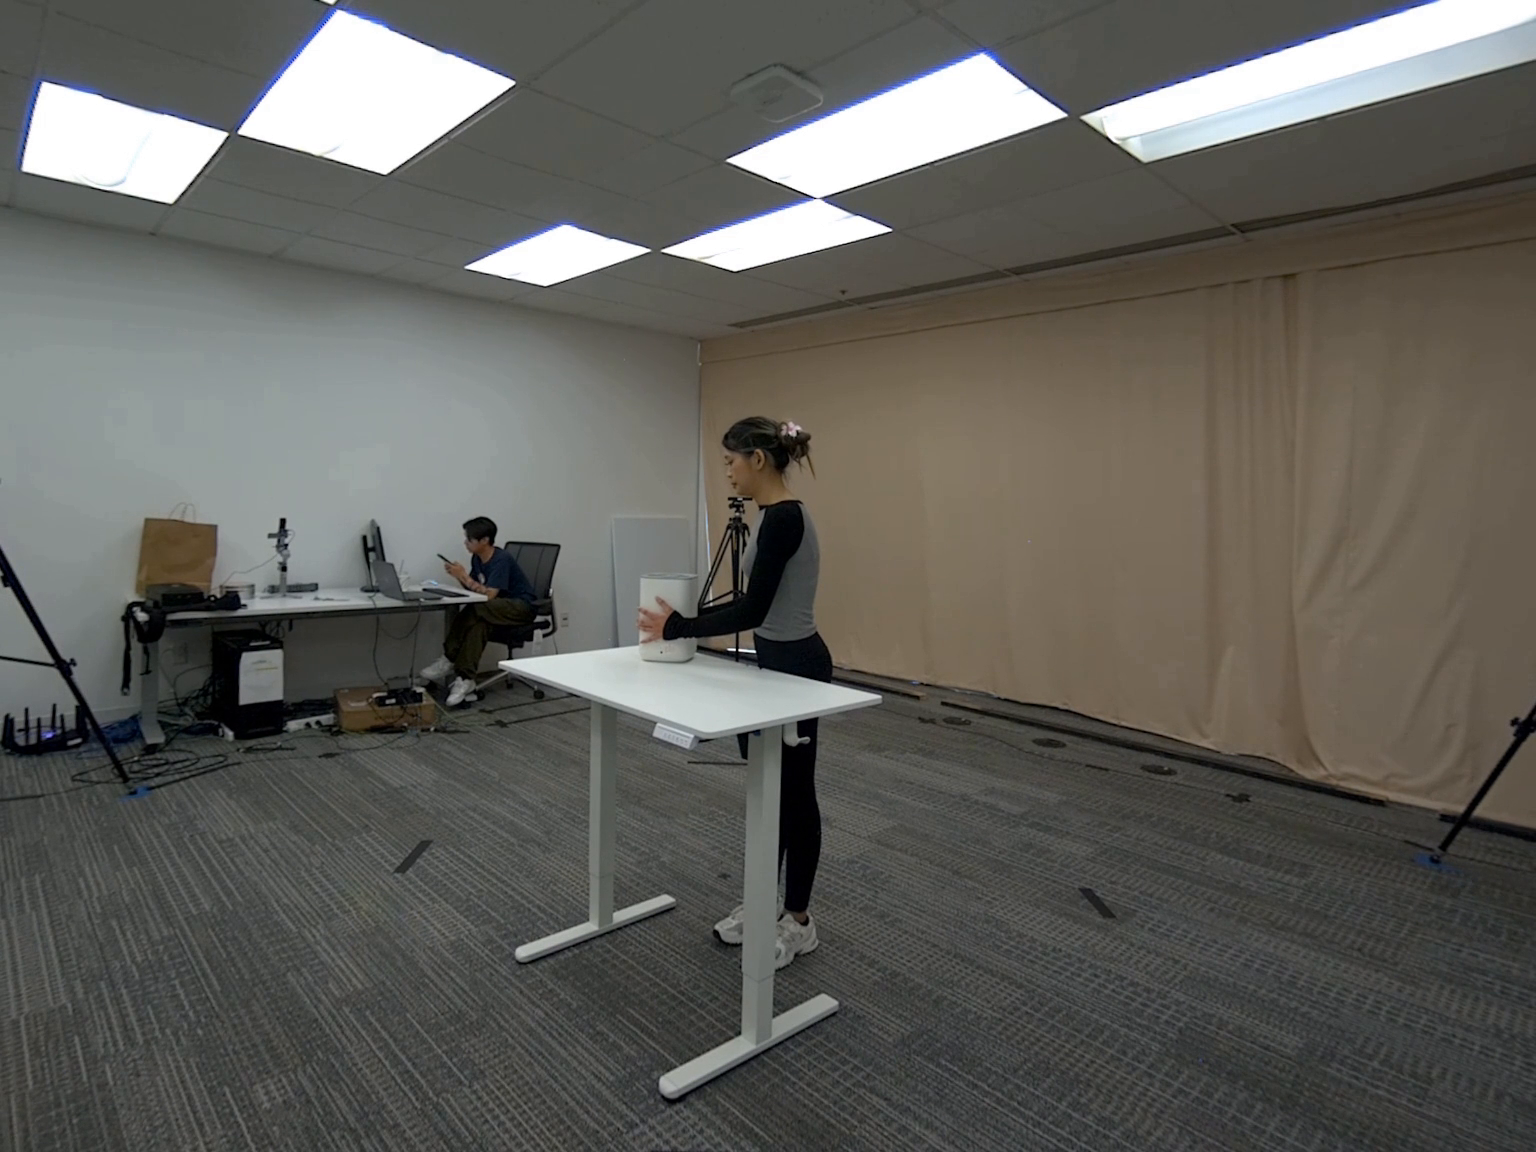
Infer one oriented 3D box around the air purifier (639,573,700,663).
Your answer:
[{"bbox_3d":[-0.316,0.133,2.666,0.172,0.265,0.170,2,3,9],"label":"air purifier"}]
